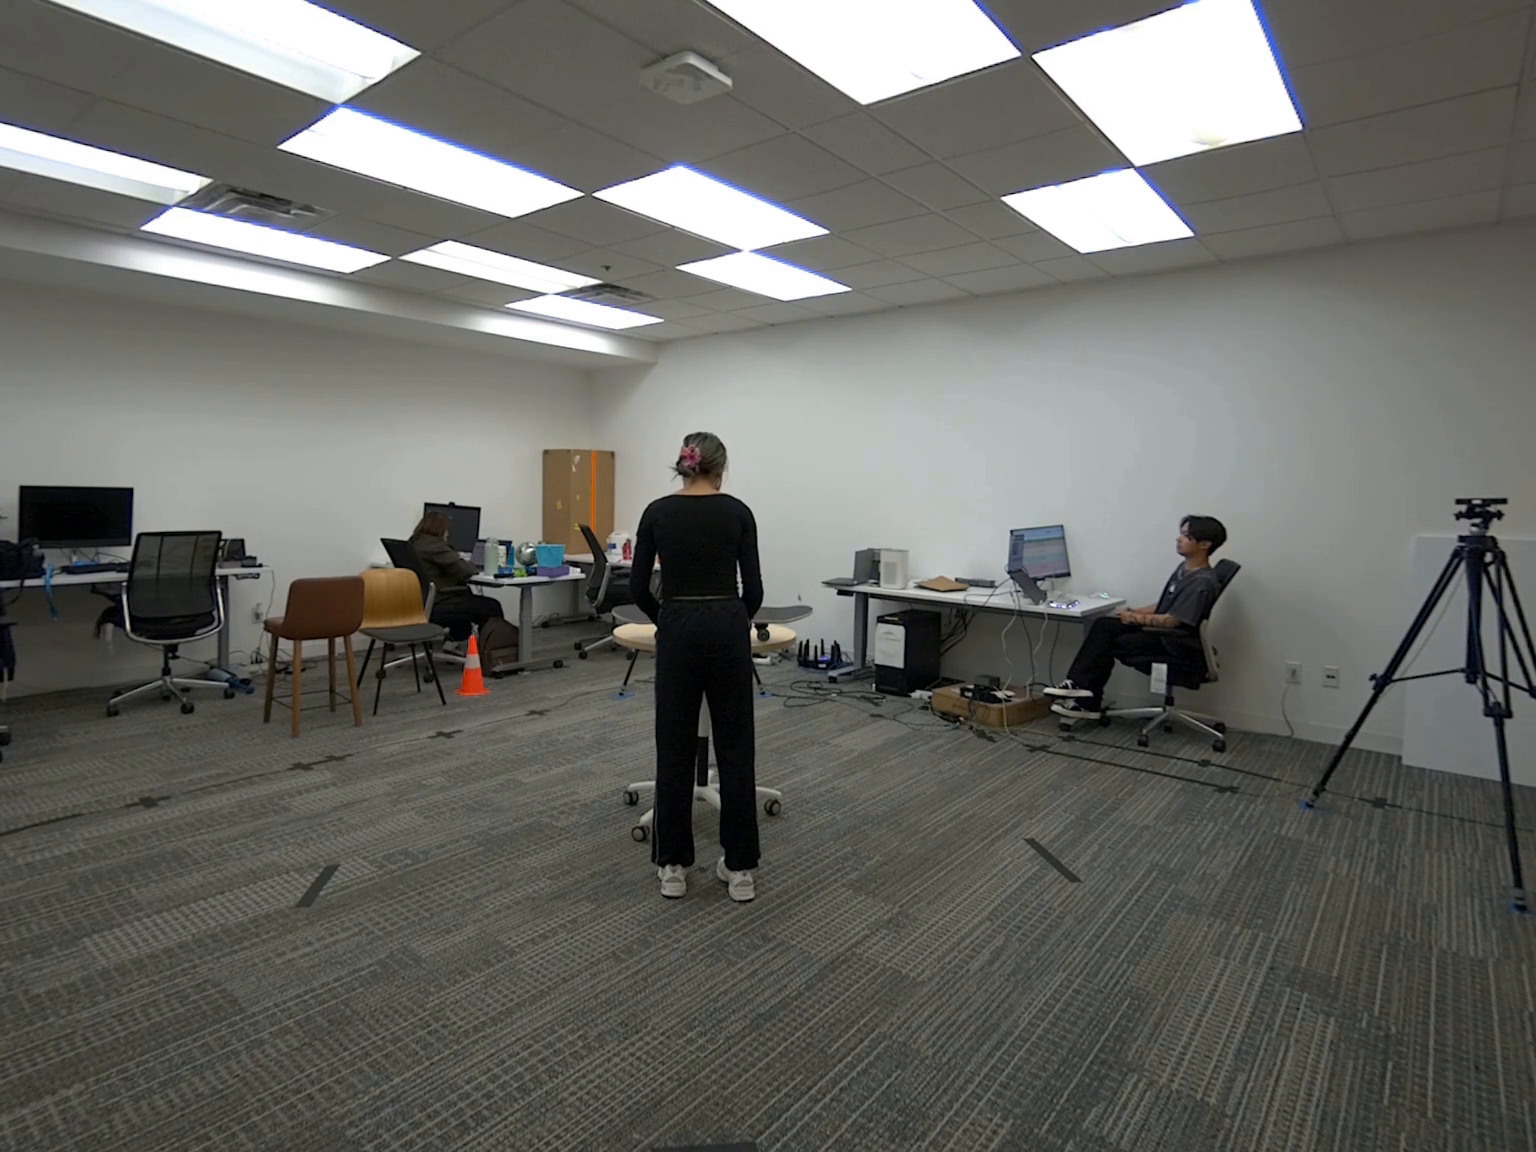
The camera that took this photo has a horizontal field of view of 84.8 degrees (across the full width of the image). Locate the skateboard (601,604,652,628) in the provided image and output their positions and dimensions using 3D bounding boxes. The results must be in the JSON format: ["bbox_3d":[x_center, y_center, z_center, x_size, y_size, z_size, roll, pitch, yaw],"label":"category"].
[{"bbox_3d":[-0.242,0.184,3.335,0.784,0.109,0.196,0,12,-2],"label":"skateboard"}]
